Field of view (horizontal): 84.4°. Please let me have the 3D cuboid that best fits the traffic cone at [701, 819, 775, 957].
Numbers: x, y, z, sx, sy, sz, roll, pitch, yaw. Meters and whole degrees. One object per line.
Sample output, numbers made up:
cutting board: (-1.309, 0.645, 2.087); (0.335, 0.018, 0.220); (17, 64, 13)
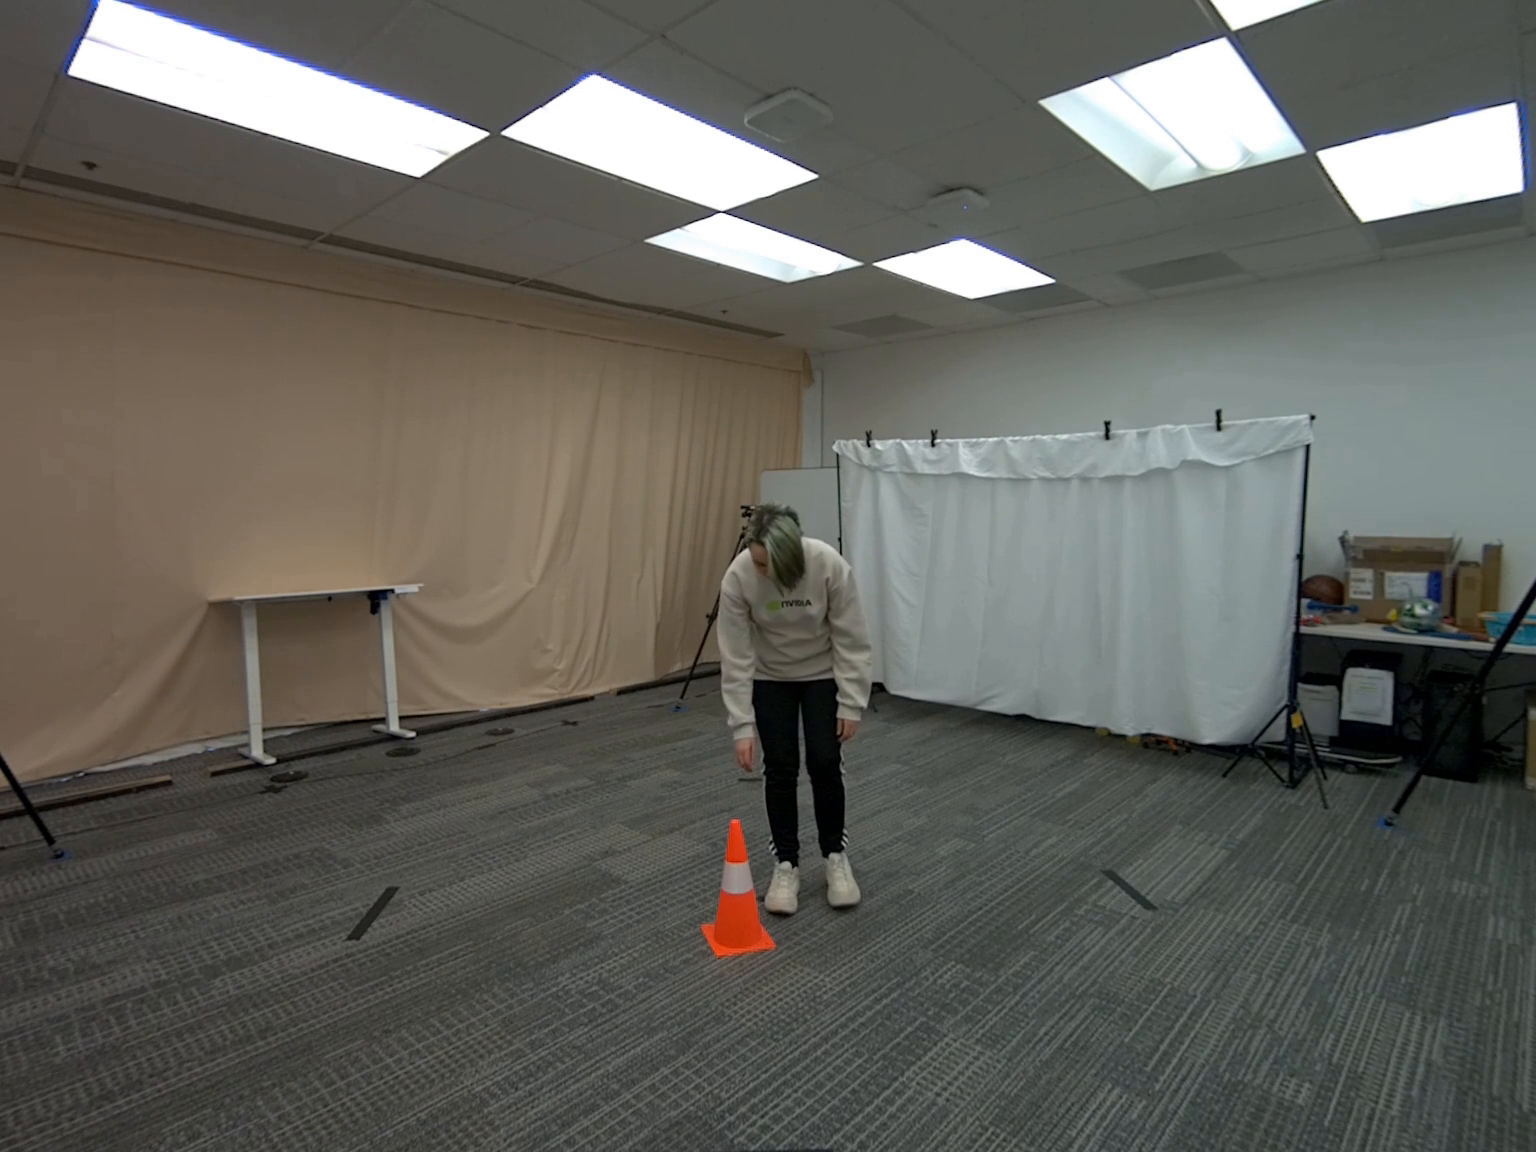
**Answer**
traffic cone: (-0.099, 0.981, 2.702); (0.200, 0.383, 0.208); (-3, 3, -15)
